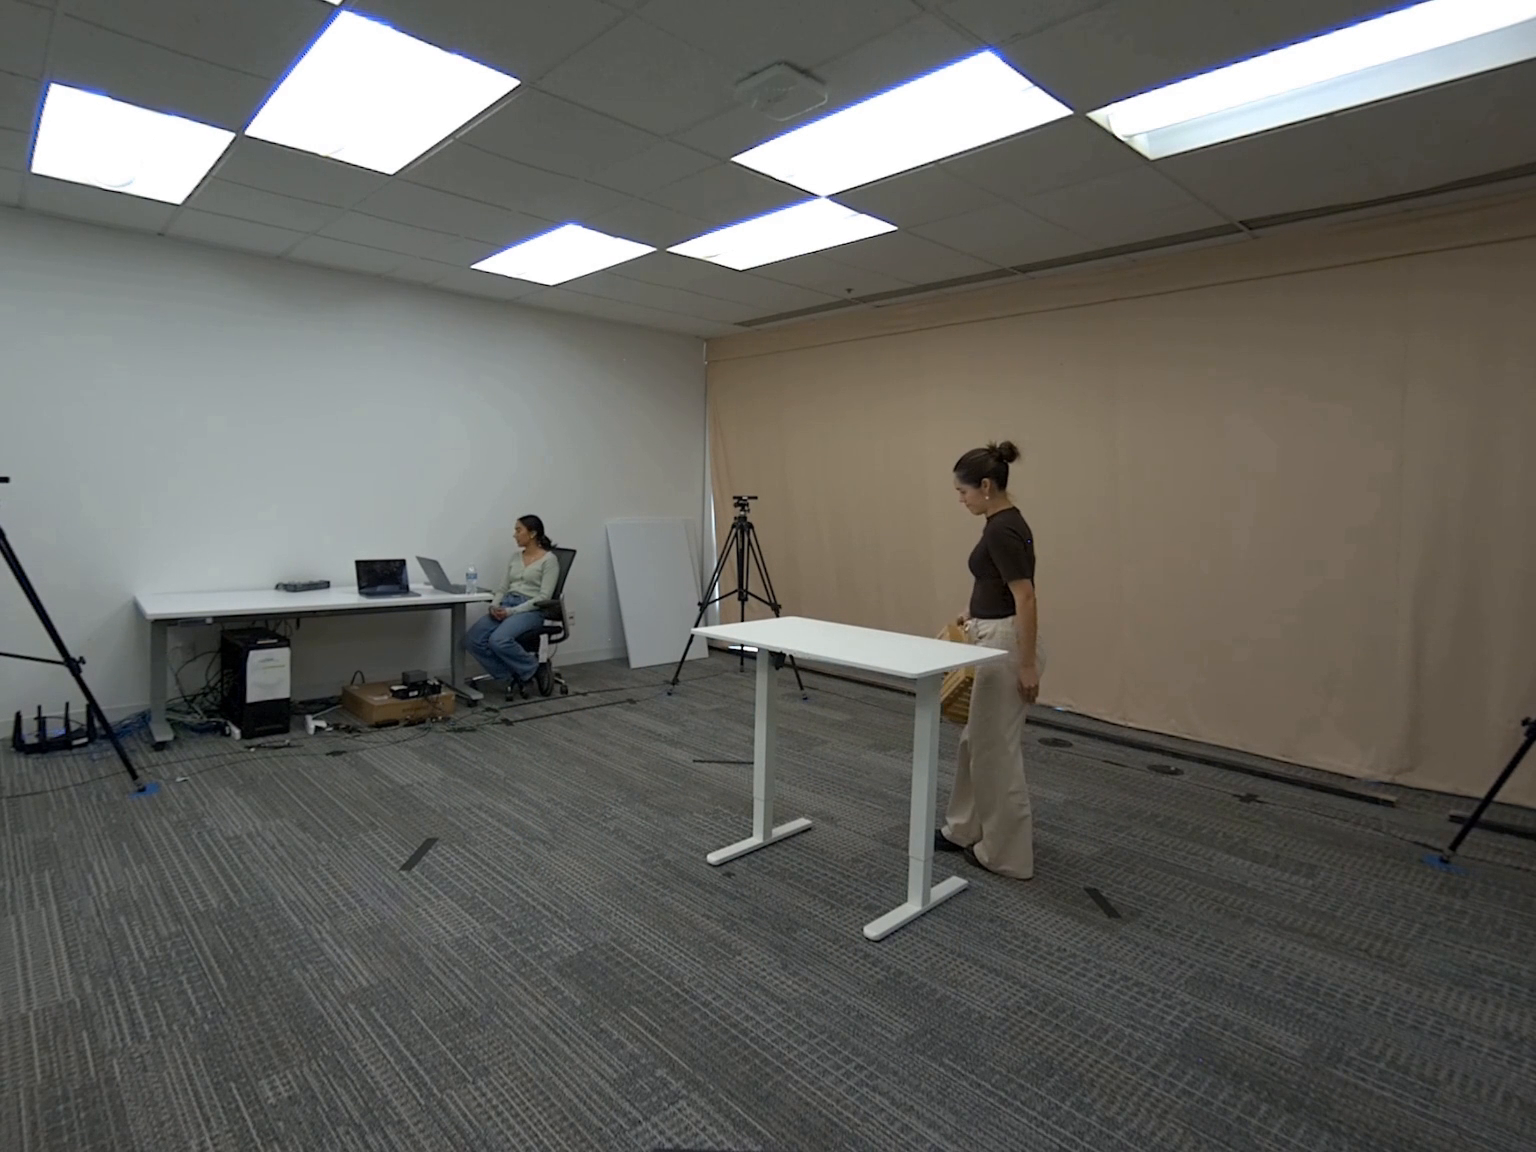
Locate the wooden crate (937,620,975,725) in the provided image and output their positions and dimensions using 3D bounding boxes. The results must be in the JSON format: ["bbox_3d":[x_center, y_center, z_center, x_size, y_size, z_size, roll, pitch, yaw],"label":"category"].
[{"bbox_3d":[0.844,0.423,3.633,0.300,0.321,0.278,15,46,-8],"label":"wooden crate"}]
